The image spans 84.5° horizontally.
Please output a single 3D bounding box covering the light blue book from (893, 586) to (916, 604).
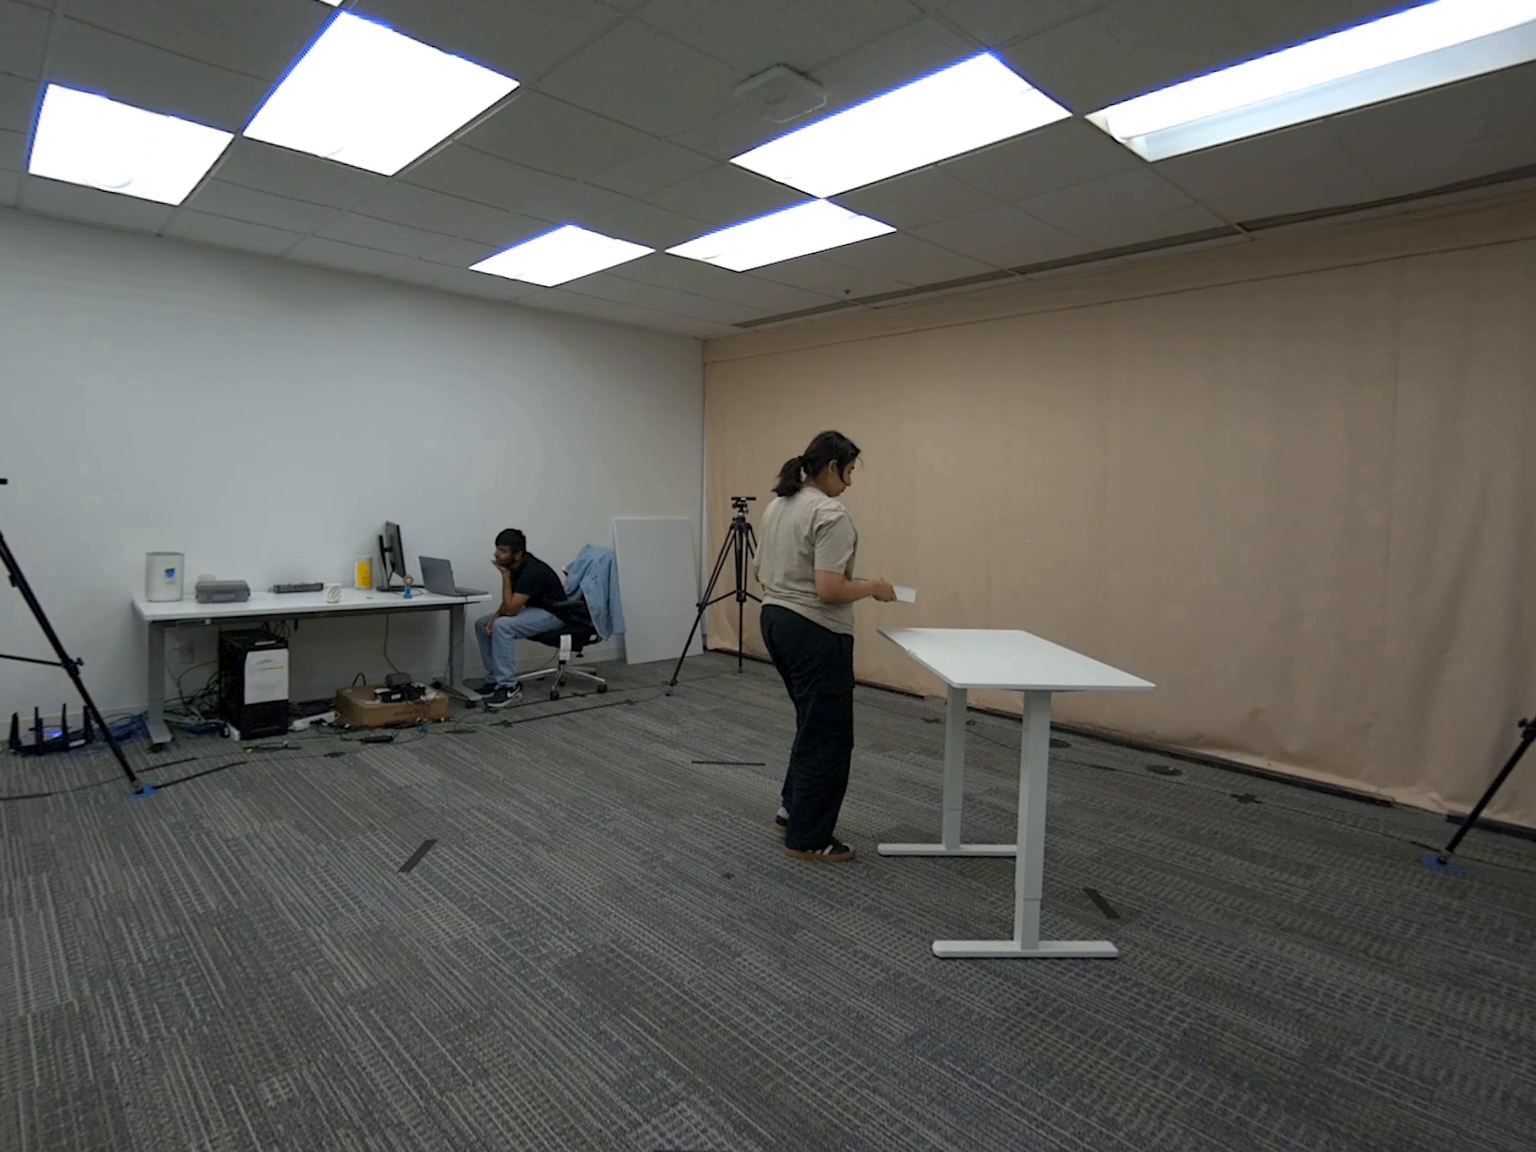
[{"bbox_3d":[0.464,0.058,3.360,0.187,0.059,0.265,13,-7,-25],"label":"light blue book"}]
